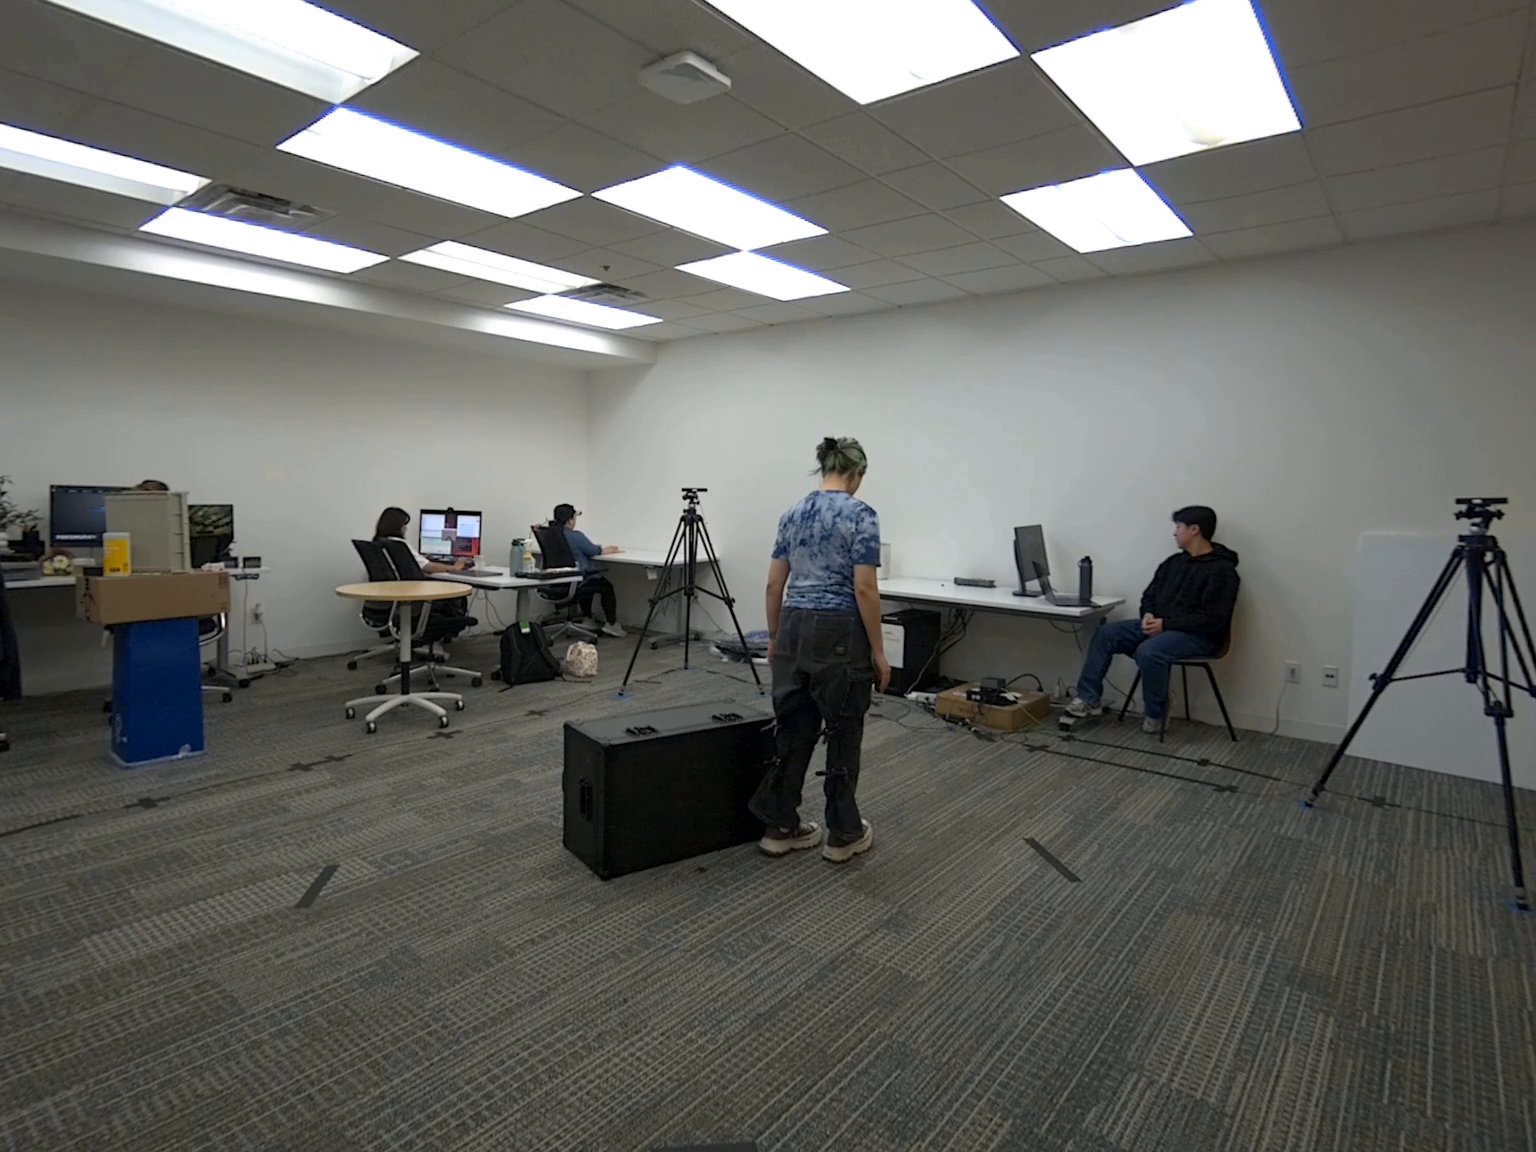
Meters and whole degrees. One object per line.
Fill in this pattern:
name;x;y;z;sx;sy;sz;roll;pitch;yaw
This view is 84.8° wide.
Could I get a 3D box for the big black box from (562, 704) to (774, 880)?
big black box;-0.369;0.798;3.374;0.837;0.520;0.409;-2;4;-34
